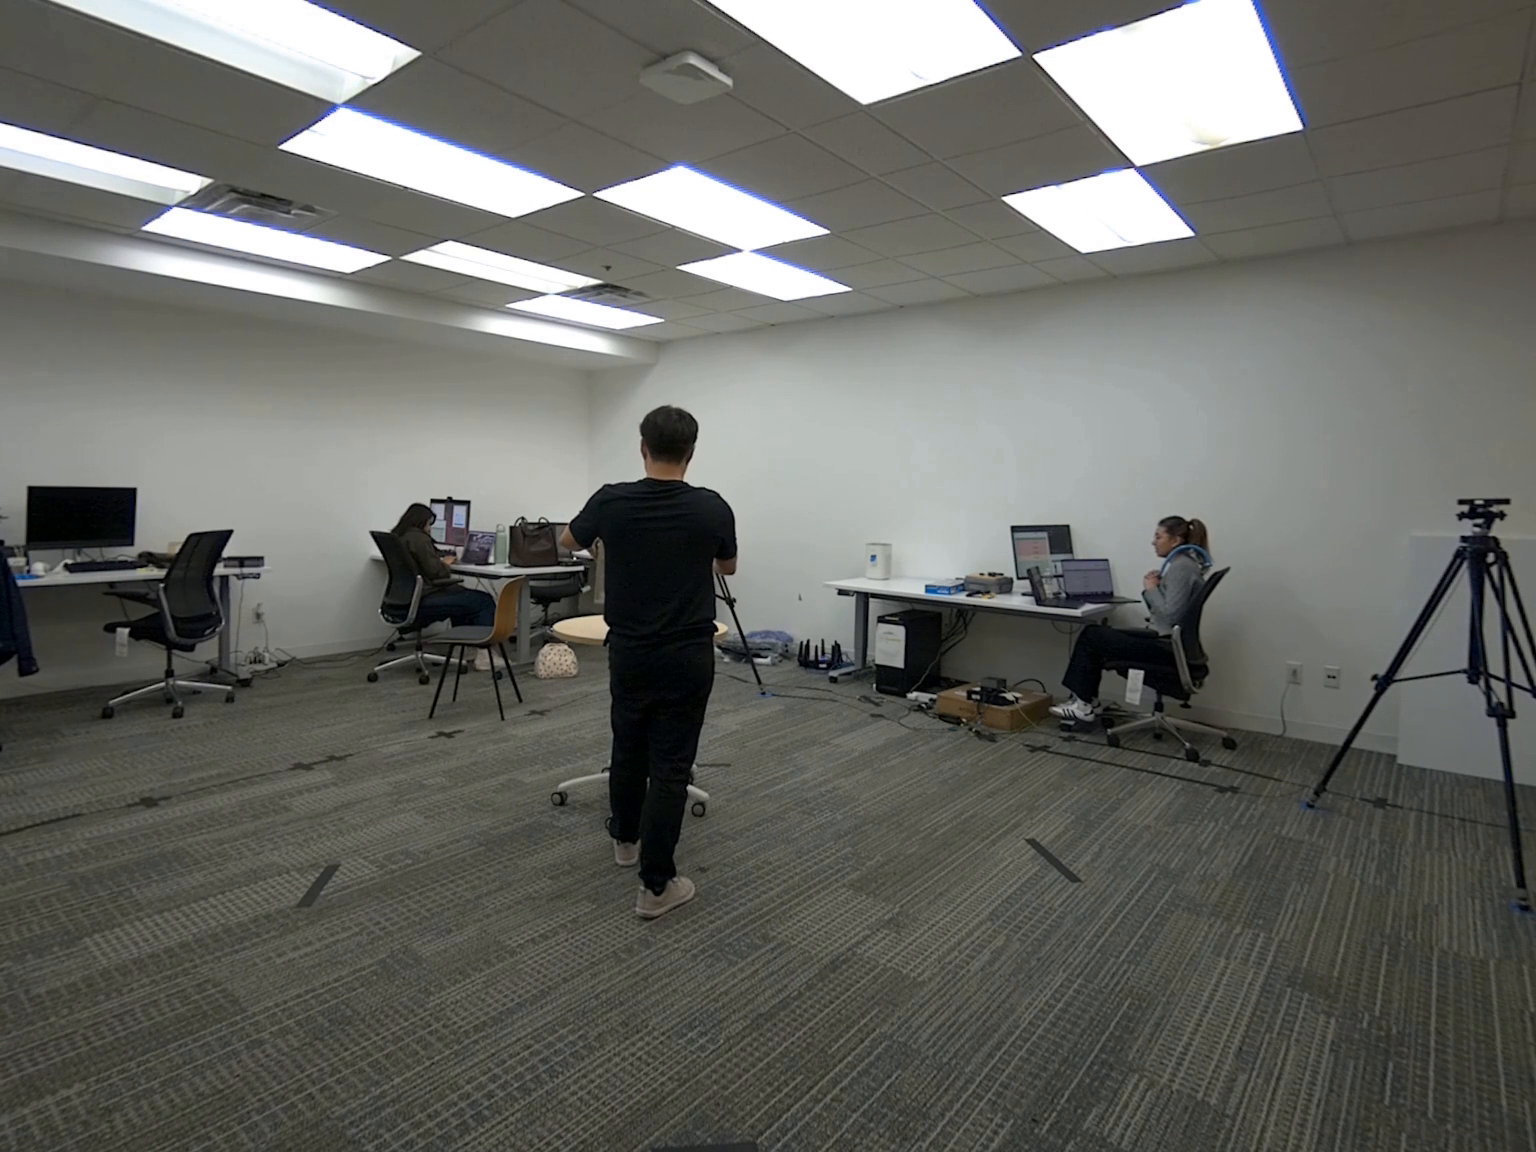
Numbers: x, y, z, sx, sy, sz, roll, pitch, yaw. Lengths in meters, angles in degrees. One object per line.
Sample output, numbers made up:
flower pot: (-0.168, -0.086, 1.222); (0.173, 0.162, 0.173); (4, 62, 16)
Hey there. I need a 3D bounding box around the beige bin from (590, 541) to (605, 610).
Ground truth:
beige bin: (-0.475, -0.077, 3.420); (0.421, 0.375, 0.190); (4, 6, -3)
